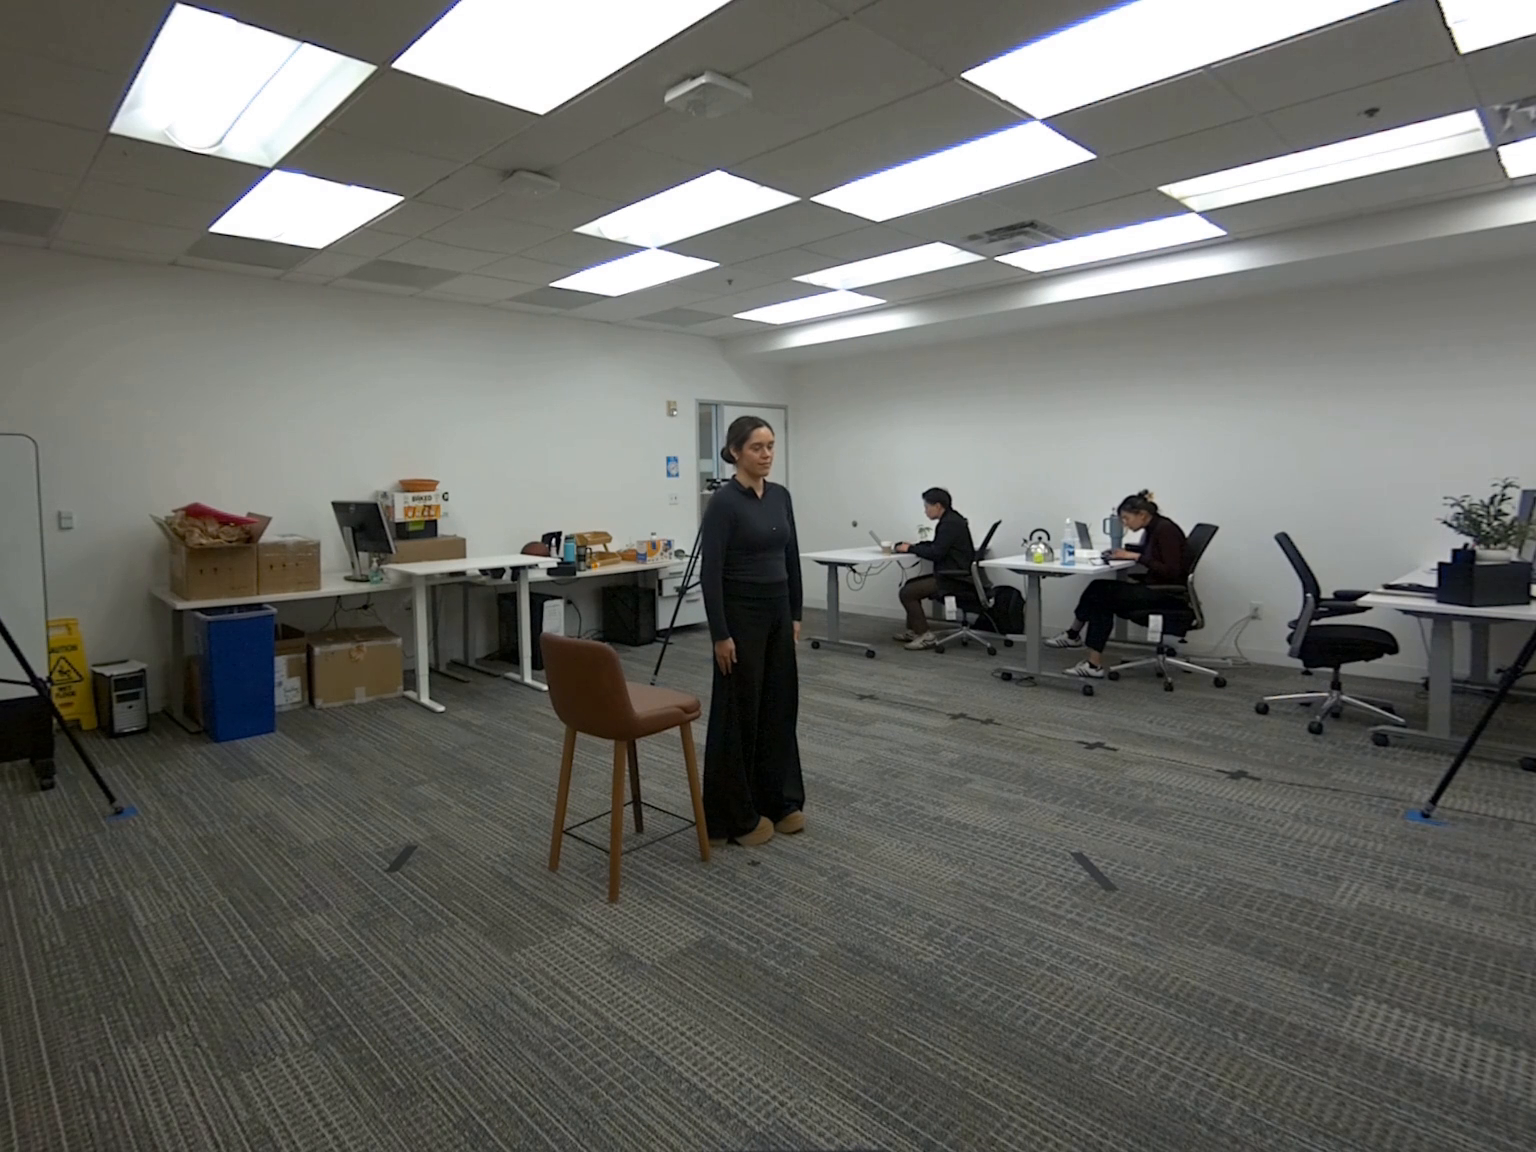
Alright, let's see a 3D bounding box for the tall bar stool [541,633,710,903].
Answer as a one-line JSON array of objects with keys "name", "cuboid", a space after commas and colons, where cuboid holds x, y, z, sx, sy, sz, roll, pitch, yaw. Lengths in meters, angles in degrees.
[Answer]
[{"name": "tall bar stool", "cuboid": [-0.522, 0.620, 3.081, 0.470, 0.885, 0.456, 3, 8, 43]}]
